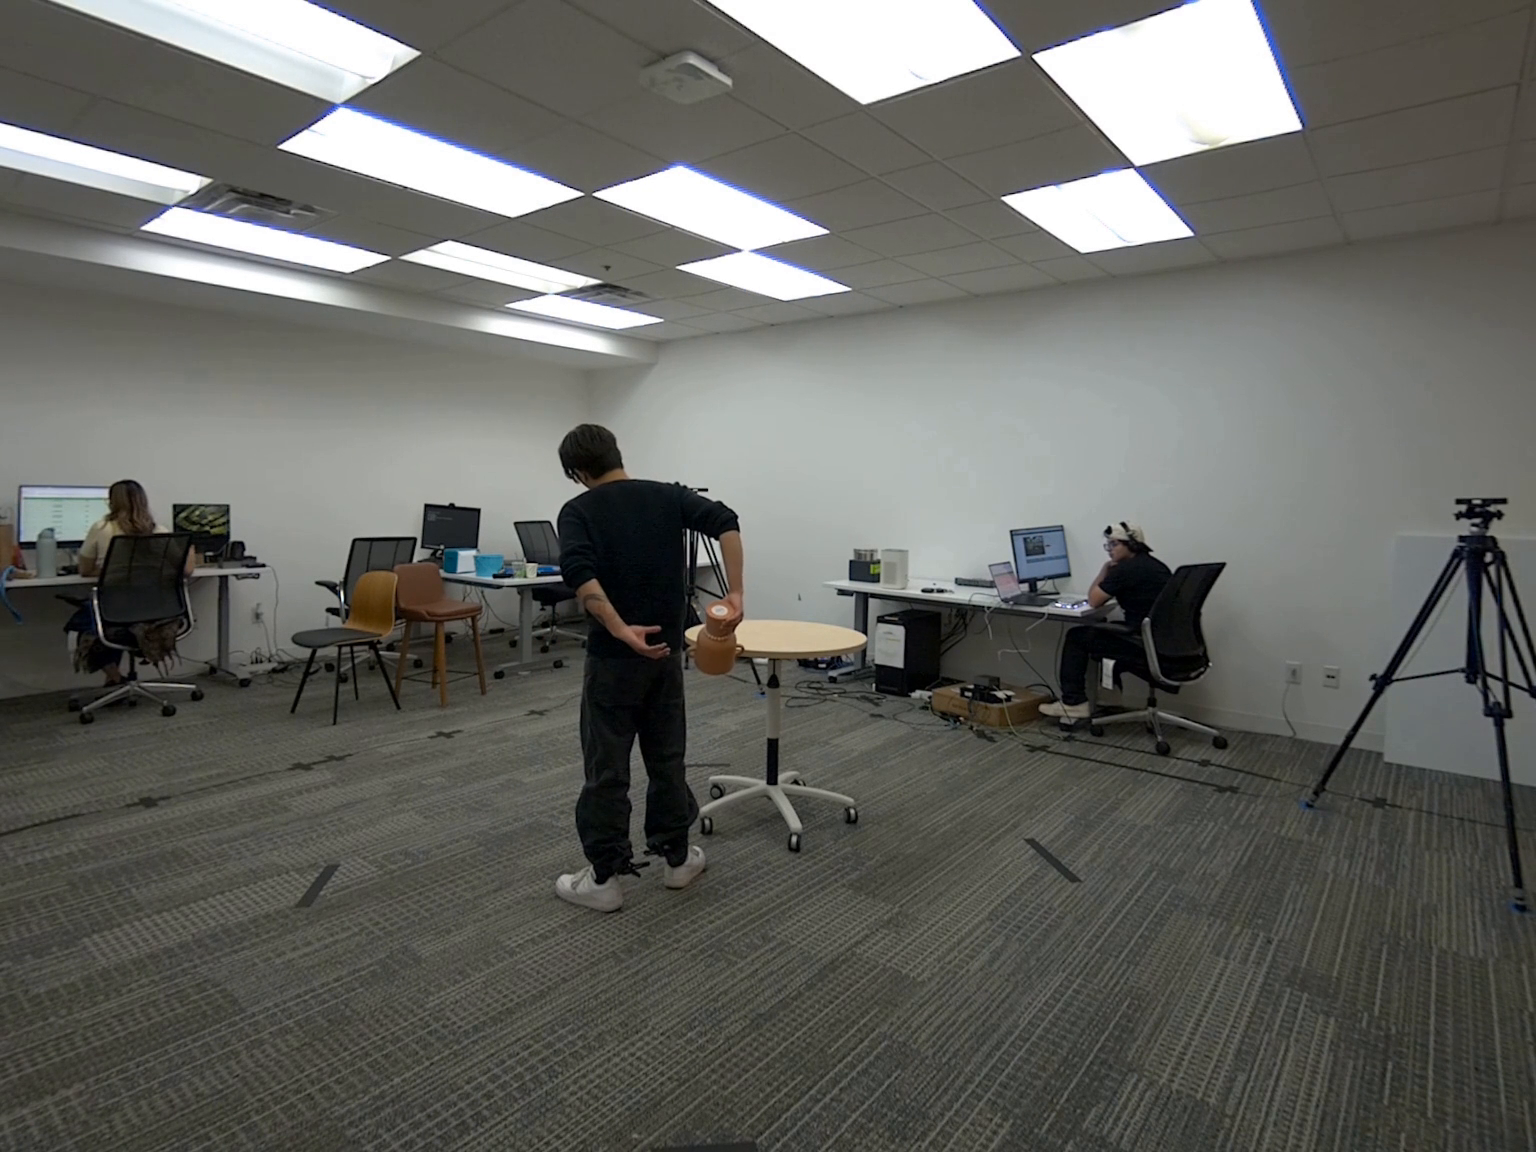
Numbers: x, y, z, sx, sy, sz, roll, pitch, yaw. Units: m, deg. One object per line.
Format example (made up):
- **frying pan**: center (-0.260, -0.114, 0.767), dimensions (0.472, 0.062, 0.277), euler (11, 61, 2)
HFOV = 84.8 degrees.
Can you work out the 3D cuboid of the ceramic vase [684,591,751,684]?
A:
- **ceramic vase**: center (-0.172, 0.201, 2.775), dimensions (0.139, 0.215, 0.157), euler (27, 39, 26)
